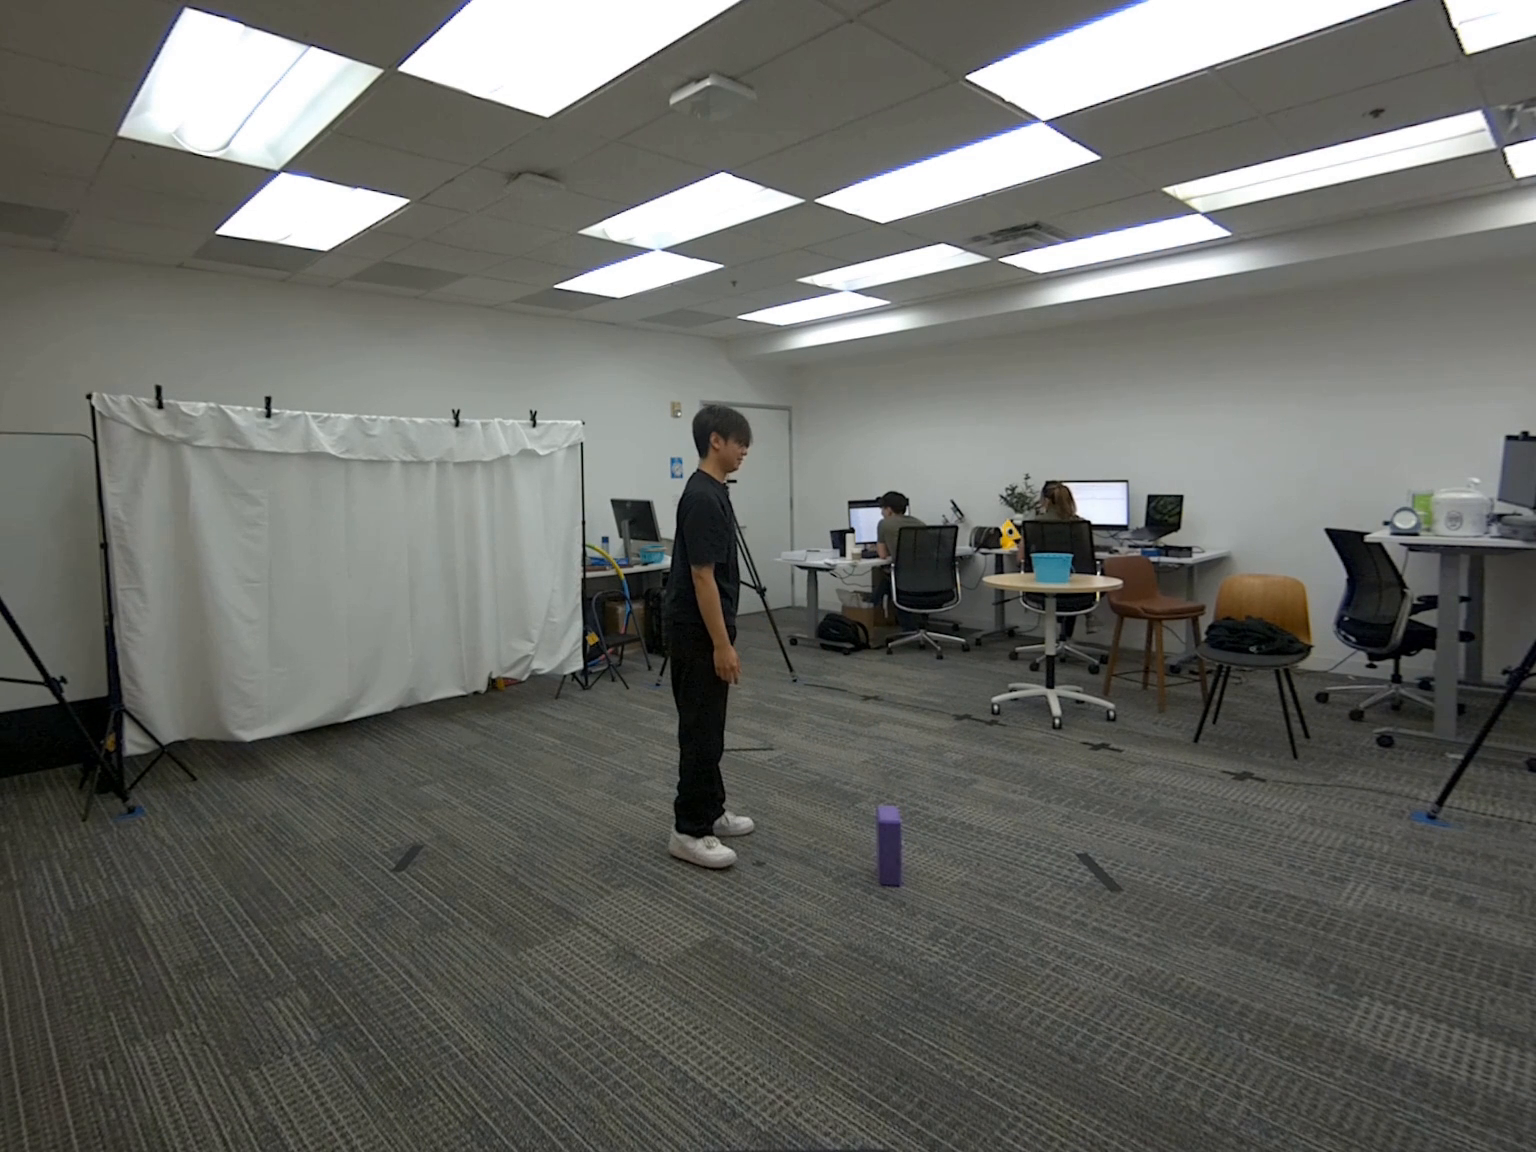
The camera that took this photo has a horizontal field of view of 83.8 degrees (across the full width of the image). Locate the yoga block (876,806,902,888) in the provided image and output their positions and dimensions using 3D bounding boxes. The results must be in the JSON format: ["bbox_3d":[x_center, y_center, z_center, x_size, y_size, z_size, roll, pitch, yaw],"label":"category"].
[{"bbox_3d":[0.429,0.943,2.975,0.077,0.229,0.148,0,3,4],"label":"yoga block"}]
